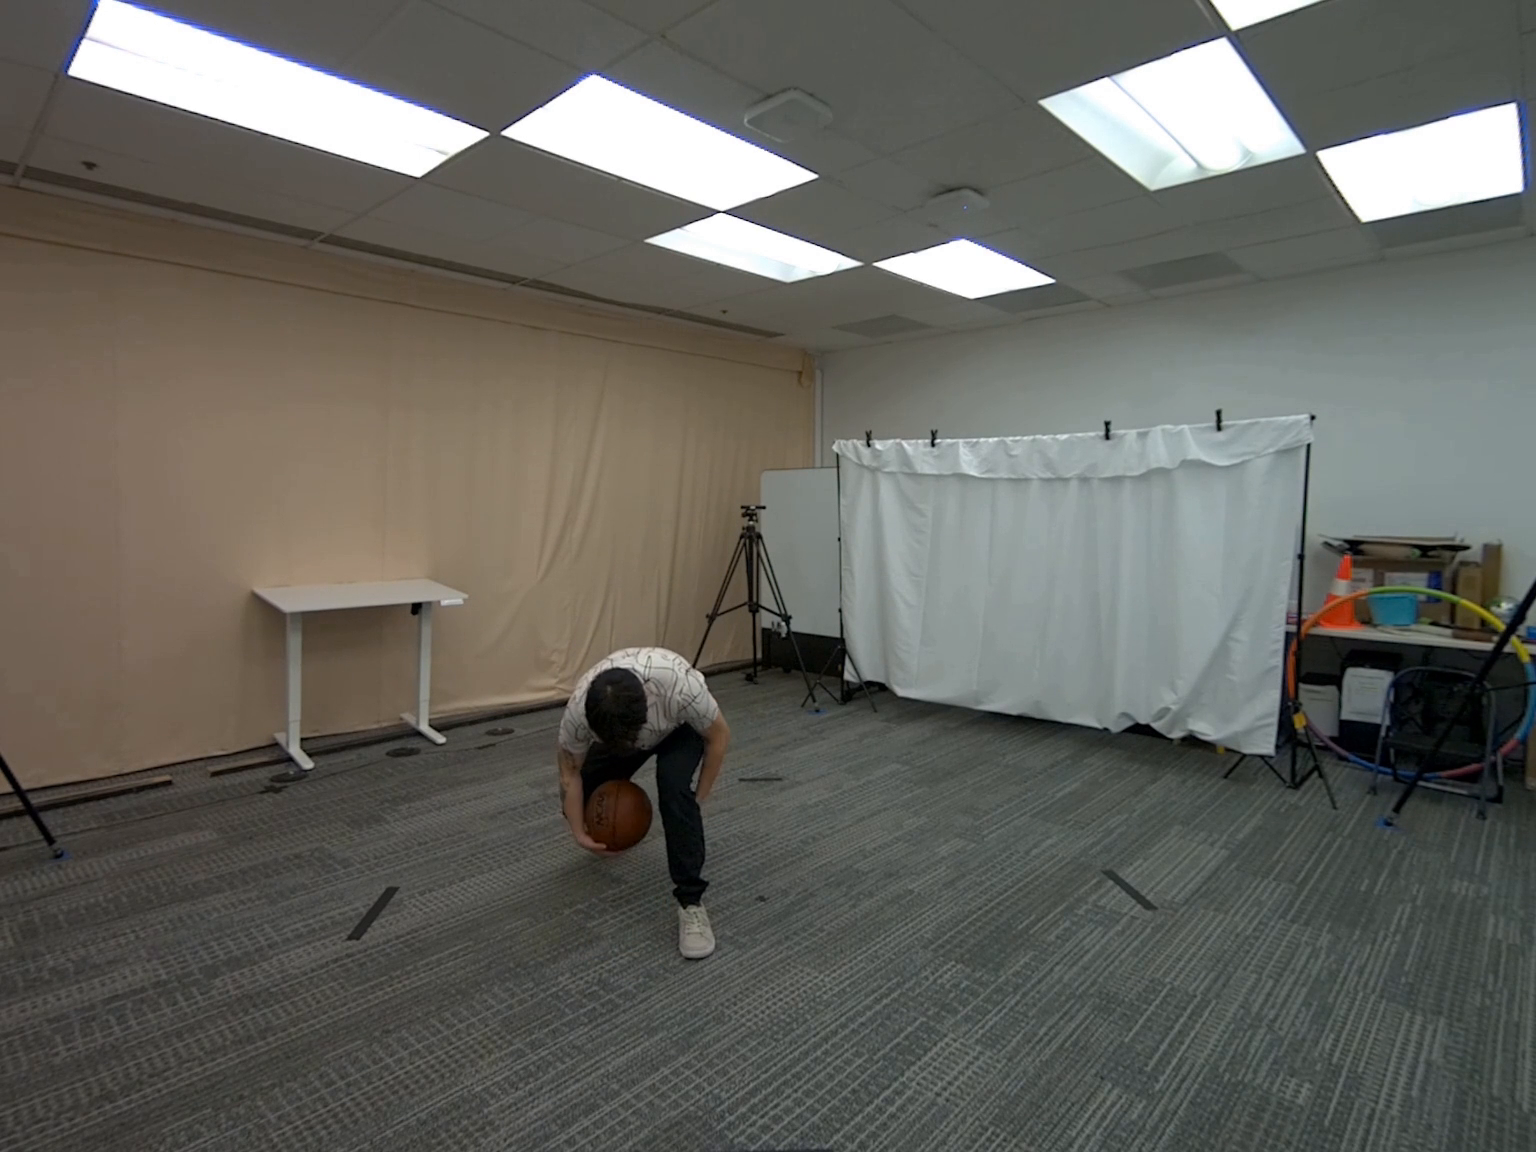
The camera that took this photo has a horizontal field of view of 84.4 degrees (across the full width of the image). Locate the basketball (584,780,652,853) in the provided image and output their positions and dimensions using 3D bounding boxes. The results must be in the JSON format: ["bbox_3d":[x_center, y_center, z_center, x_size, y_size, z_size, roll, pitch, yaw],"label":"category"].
[{"bbox_3d":[-0.512,0.838,2.962,0.236,0.235,0.237,0,4,-2],"label":"basketball"}]
